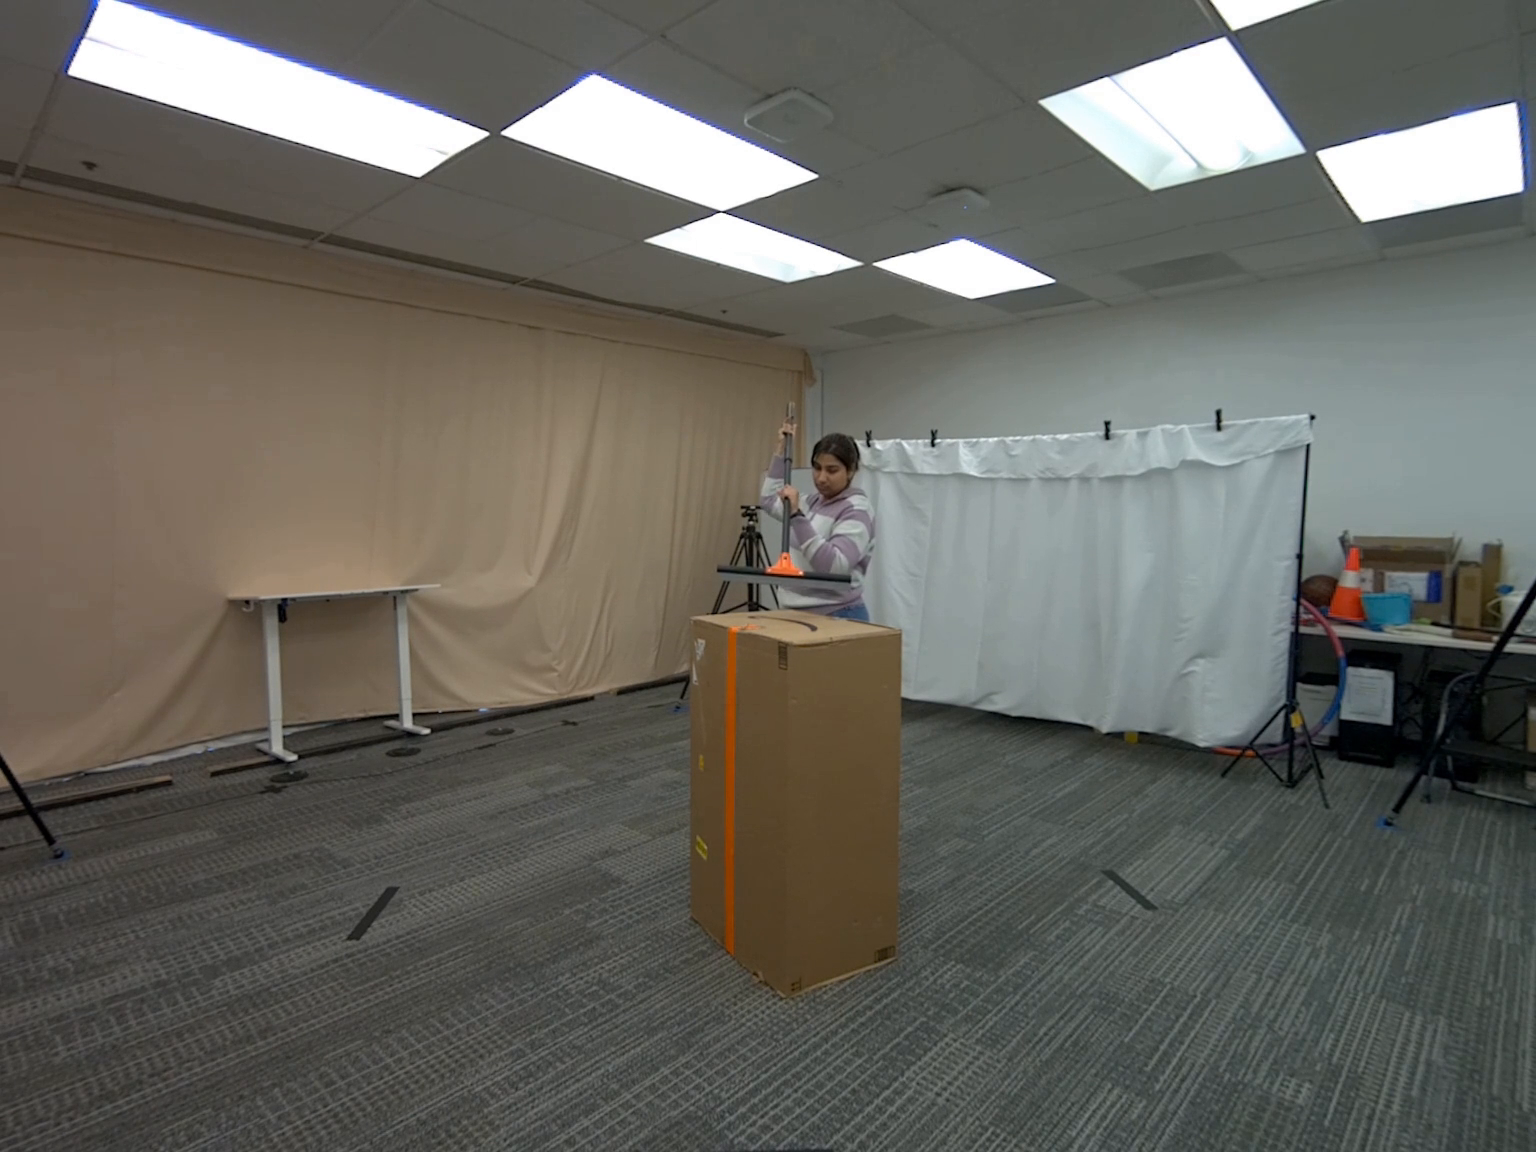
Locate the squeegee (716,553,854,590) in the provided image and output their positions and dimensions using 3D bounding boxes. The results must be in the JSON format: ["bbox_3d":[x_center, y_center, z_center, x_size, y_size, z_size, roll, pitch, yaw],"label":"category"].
[{"bbox_3d":[0.065,-0.390,3.342,0.437,0.052,1.560,4,34,-1],"label":"squeegee"}]
